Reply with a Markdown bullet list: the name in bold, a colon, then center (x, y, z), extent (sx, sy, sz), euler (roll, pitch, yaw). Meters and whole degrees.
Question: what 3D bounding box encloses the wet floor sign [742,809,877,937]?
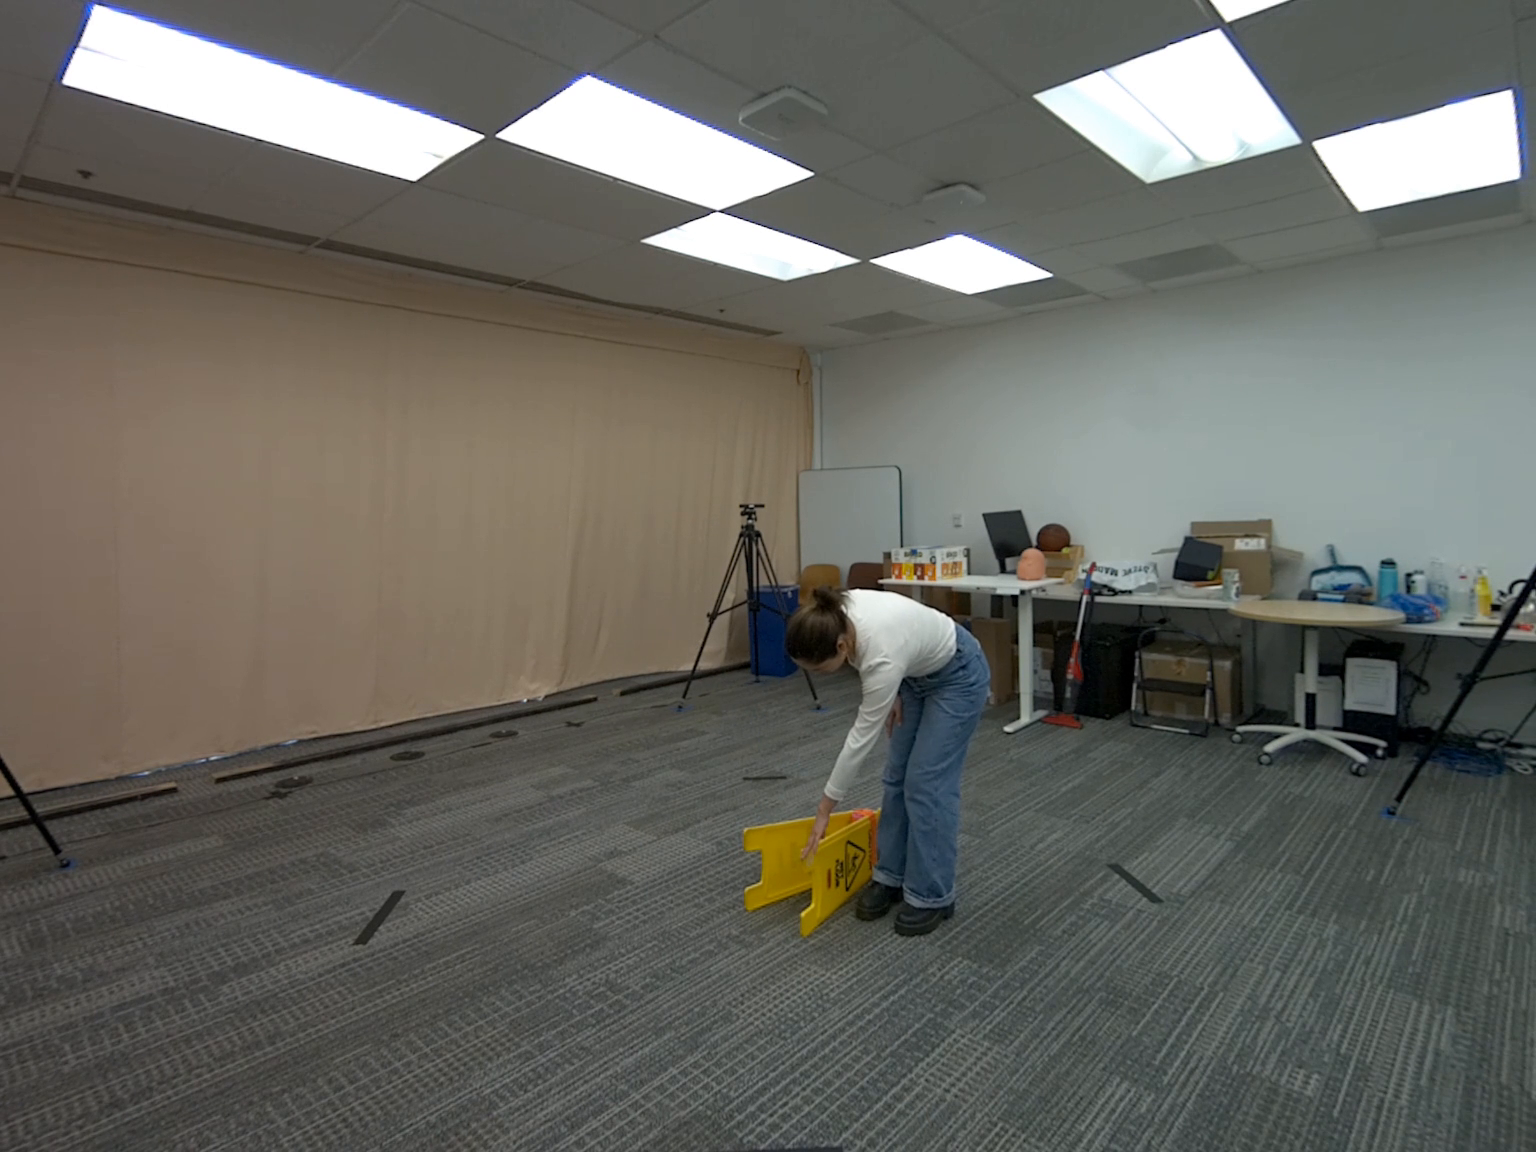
- **wet floor sign**: center (0.236, 1.004, 3.016), extent (0.299, 0.281, 0.626), euler (4, 5, 45)
